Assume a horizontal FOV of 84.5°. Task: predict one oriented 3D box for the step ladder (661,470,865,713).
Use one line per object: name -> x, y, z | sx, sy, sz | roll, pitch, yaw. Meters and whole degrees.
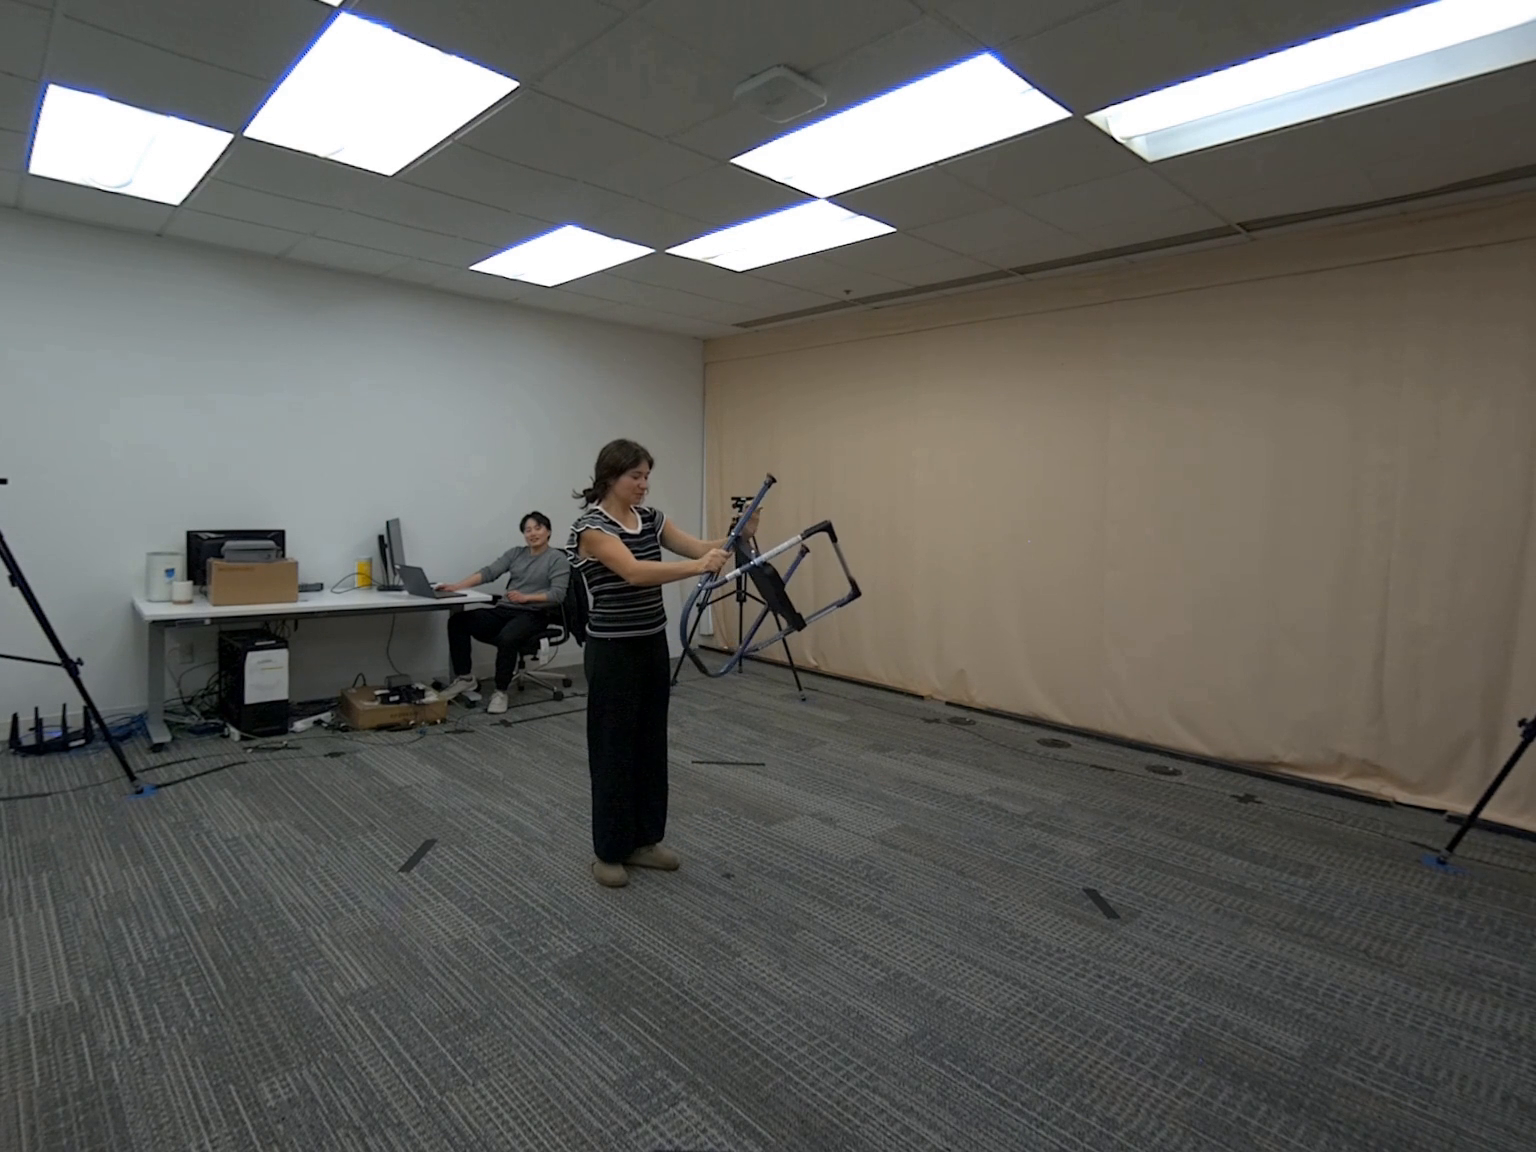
step ladder -> -0.064, 0.048, 2.856 | 0.361, 0.605, 0.417 | 41, -13, 41
